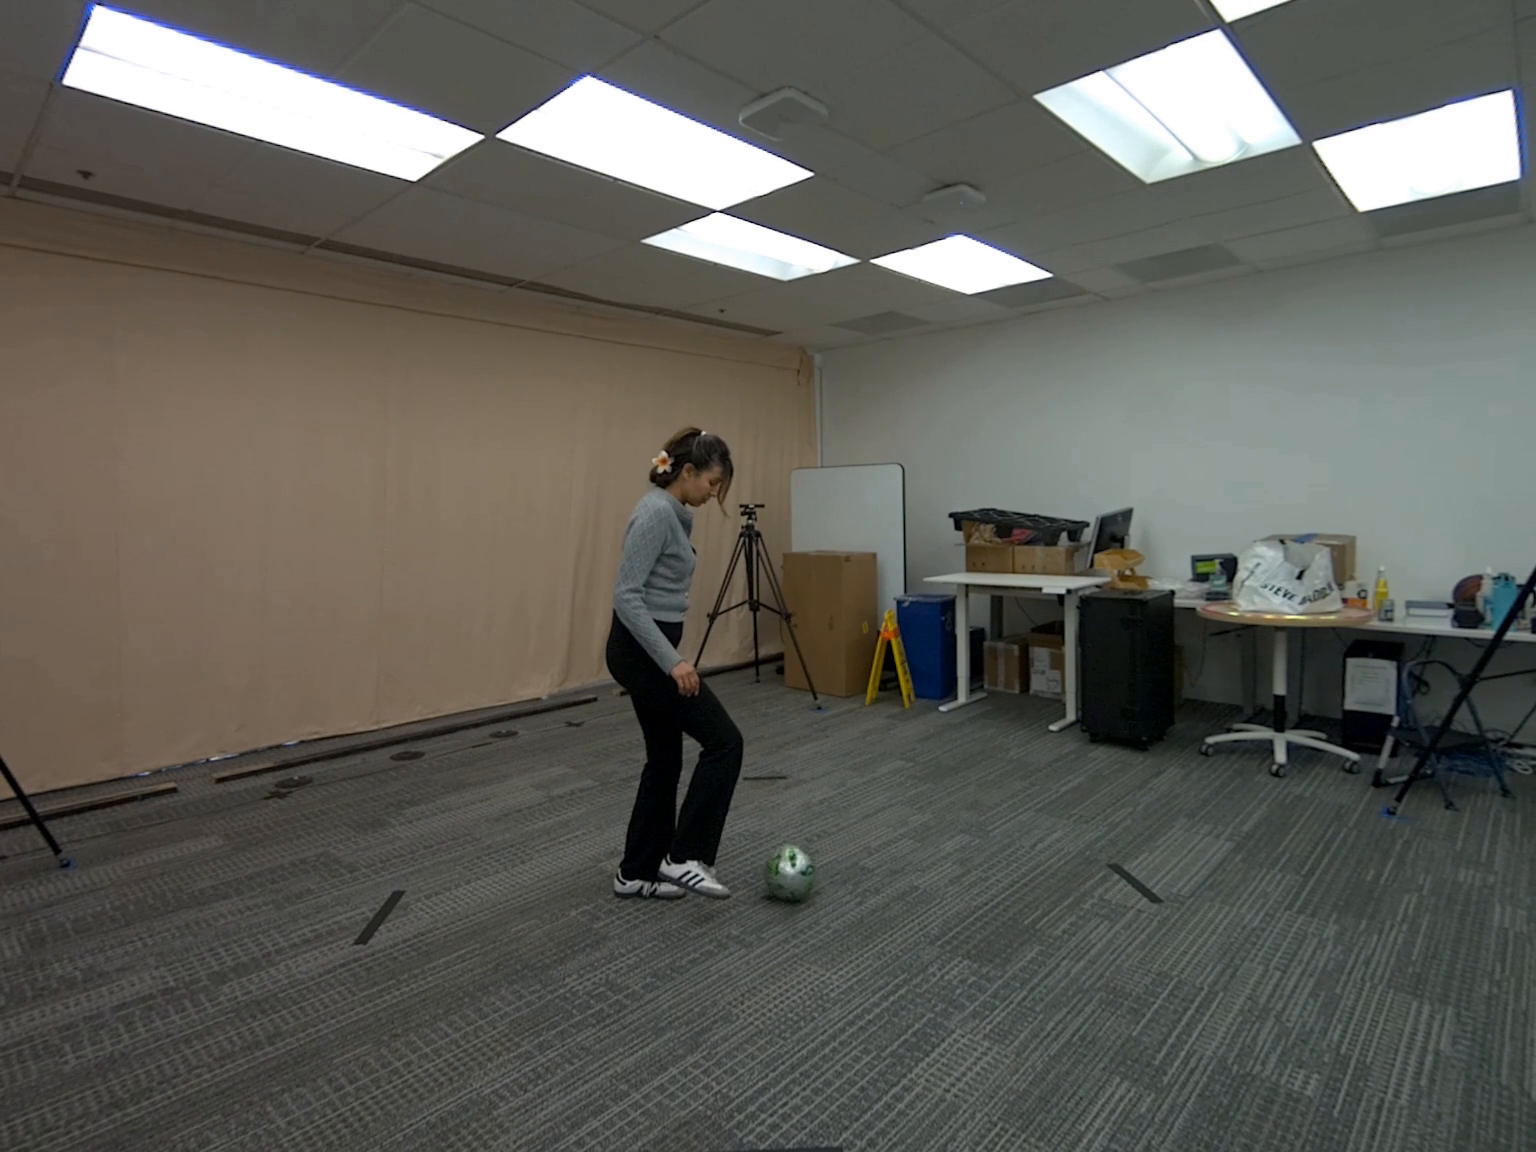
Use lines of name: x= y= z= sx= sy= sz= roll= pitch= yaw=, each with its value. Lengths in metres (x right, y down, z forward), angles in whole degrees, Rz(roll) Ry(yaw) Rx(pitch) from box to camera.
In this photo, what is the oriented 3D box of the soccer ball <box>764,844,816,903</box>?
soccer ball: x=0.086 y=1.045 z=2.967 sx=0.187 sy=0.187 sz=0.188 roll=-1 pitch=4 yaw=-2
